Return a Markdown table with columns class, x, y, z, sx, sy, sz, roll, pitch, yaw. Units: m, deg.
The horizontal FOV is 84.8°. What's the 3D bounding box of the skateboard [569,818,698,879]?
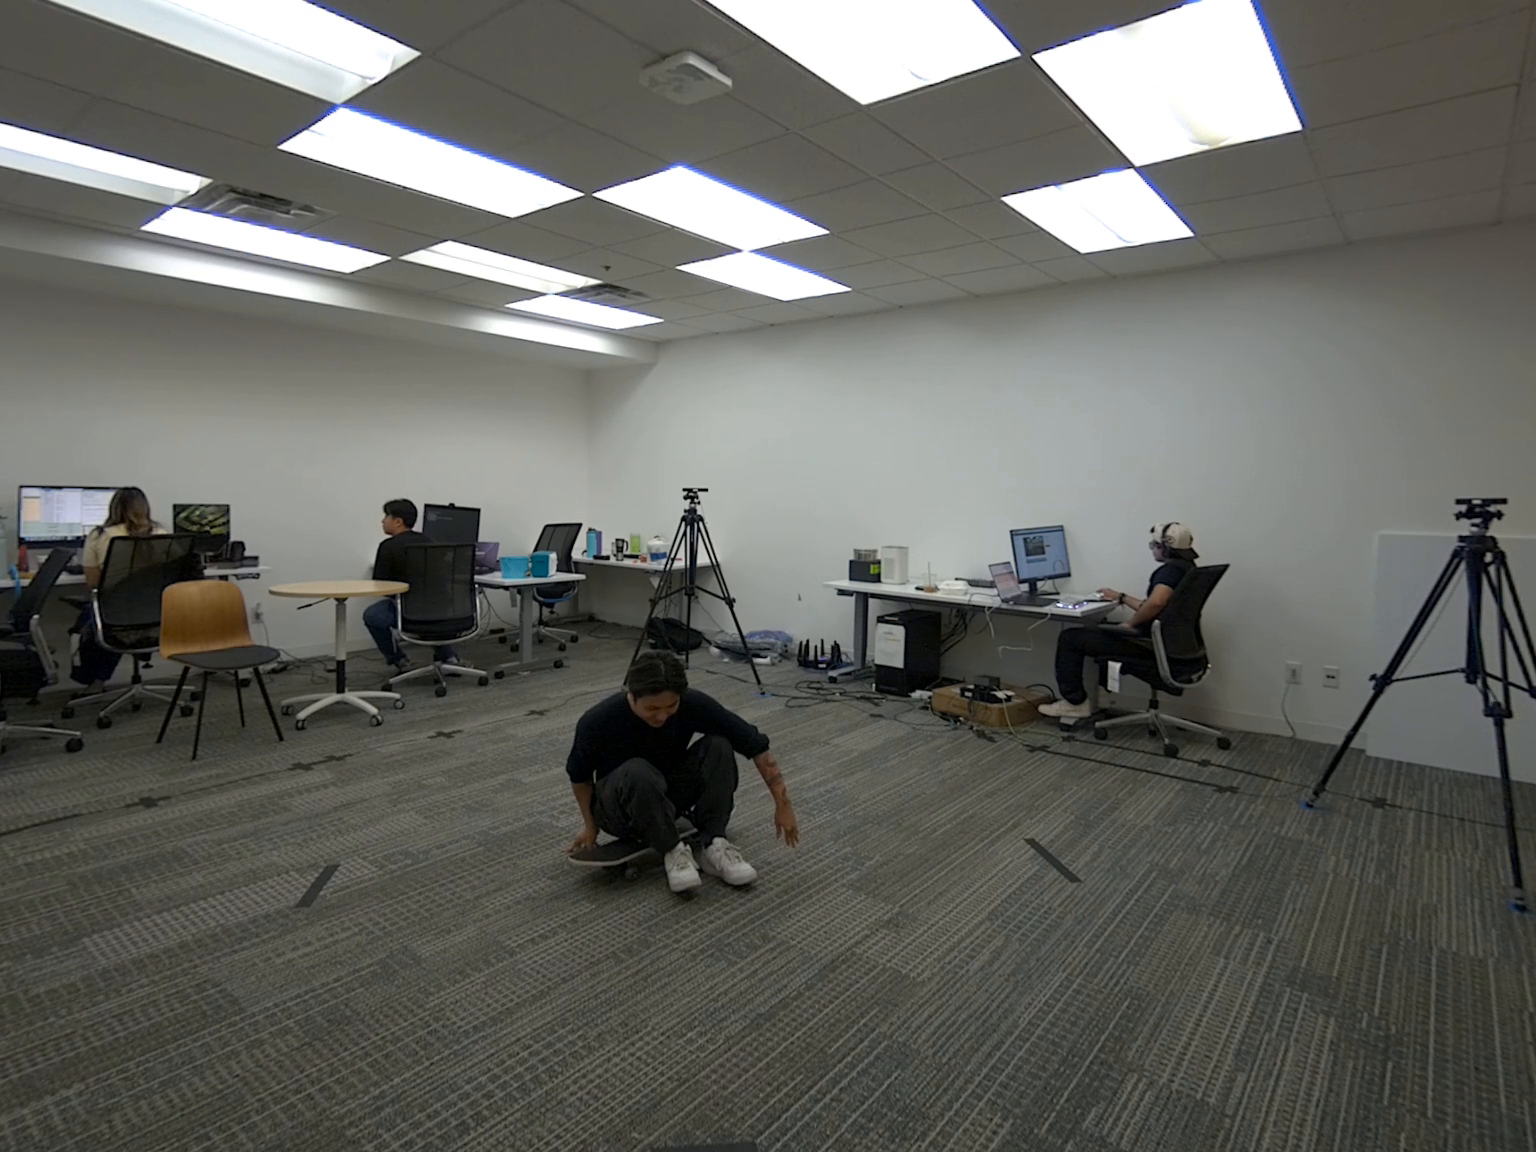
| class | x | y | z | sx | sy | sz | roll | pitch | yaw |
| --- | --- | --- | --- | --- | --- | --- | --- | --- | --- |
| skateboard | -0.413 | 1.011 | 3.211 | 0.199 | 0.110 | 0.762 | -5 | 1 | 44 |
